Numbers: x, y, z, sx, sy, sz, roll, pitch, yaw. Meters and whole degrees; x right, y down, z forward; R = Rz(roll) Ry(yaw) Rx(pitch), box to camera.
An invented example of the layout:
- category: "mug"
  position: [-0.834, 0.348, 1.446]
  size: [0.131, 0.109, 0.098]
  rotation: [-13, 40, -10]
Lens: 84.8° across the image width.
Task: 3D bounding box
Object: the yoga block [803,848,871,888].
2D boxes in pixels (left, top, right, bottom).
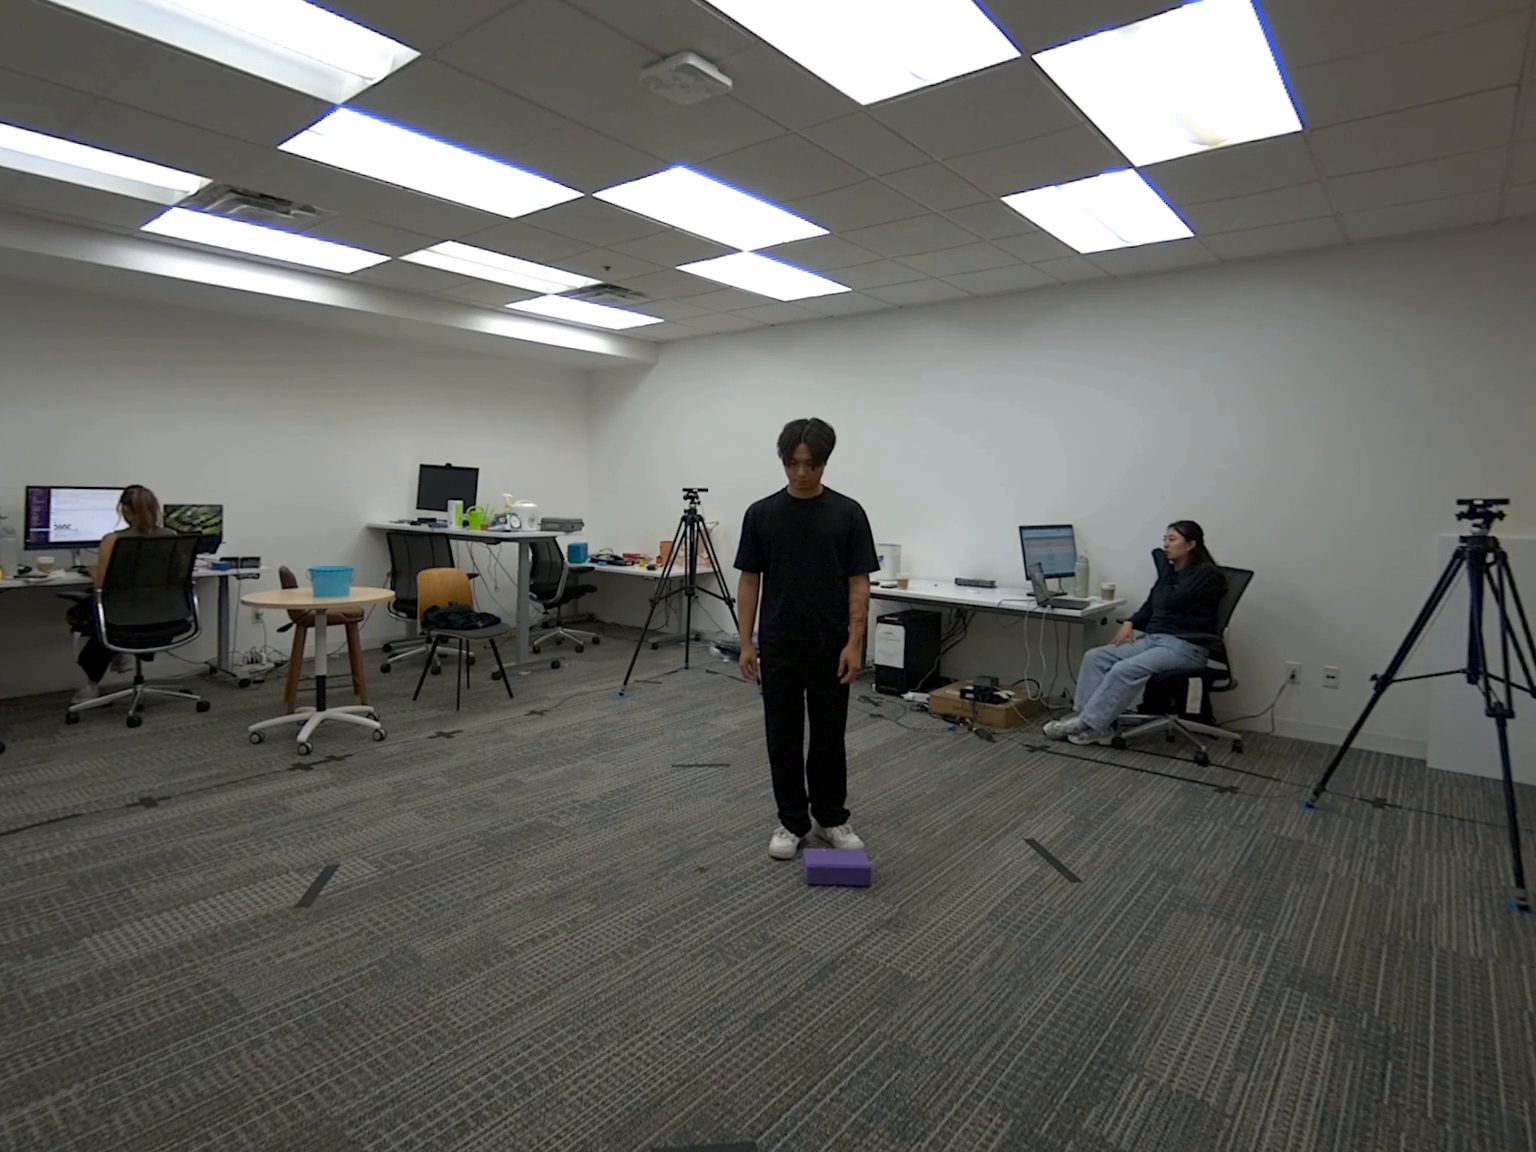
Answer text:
- category: "yoga block"
  position: [0.243, 1.040, 3.068]
  size: [0.229, 0.076, 0.150]
  rotation: [-1, 6, -2]
